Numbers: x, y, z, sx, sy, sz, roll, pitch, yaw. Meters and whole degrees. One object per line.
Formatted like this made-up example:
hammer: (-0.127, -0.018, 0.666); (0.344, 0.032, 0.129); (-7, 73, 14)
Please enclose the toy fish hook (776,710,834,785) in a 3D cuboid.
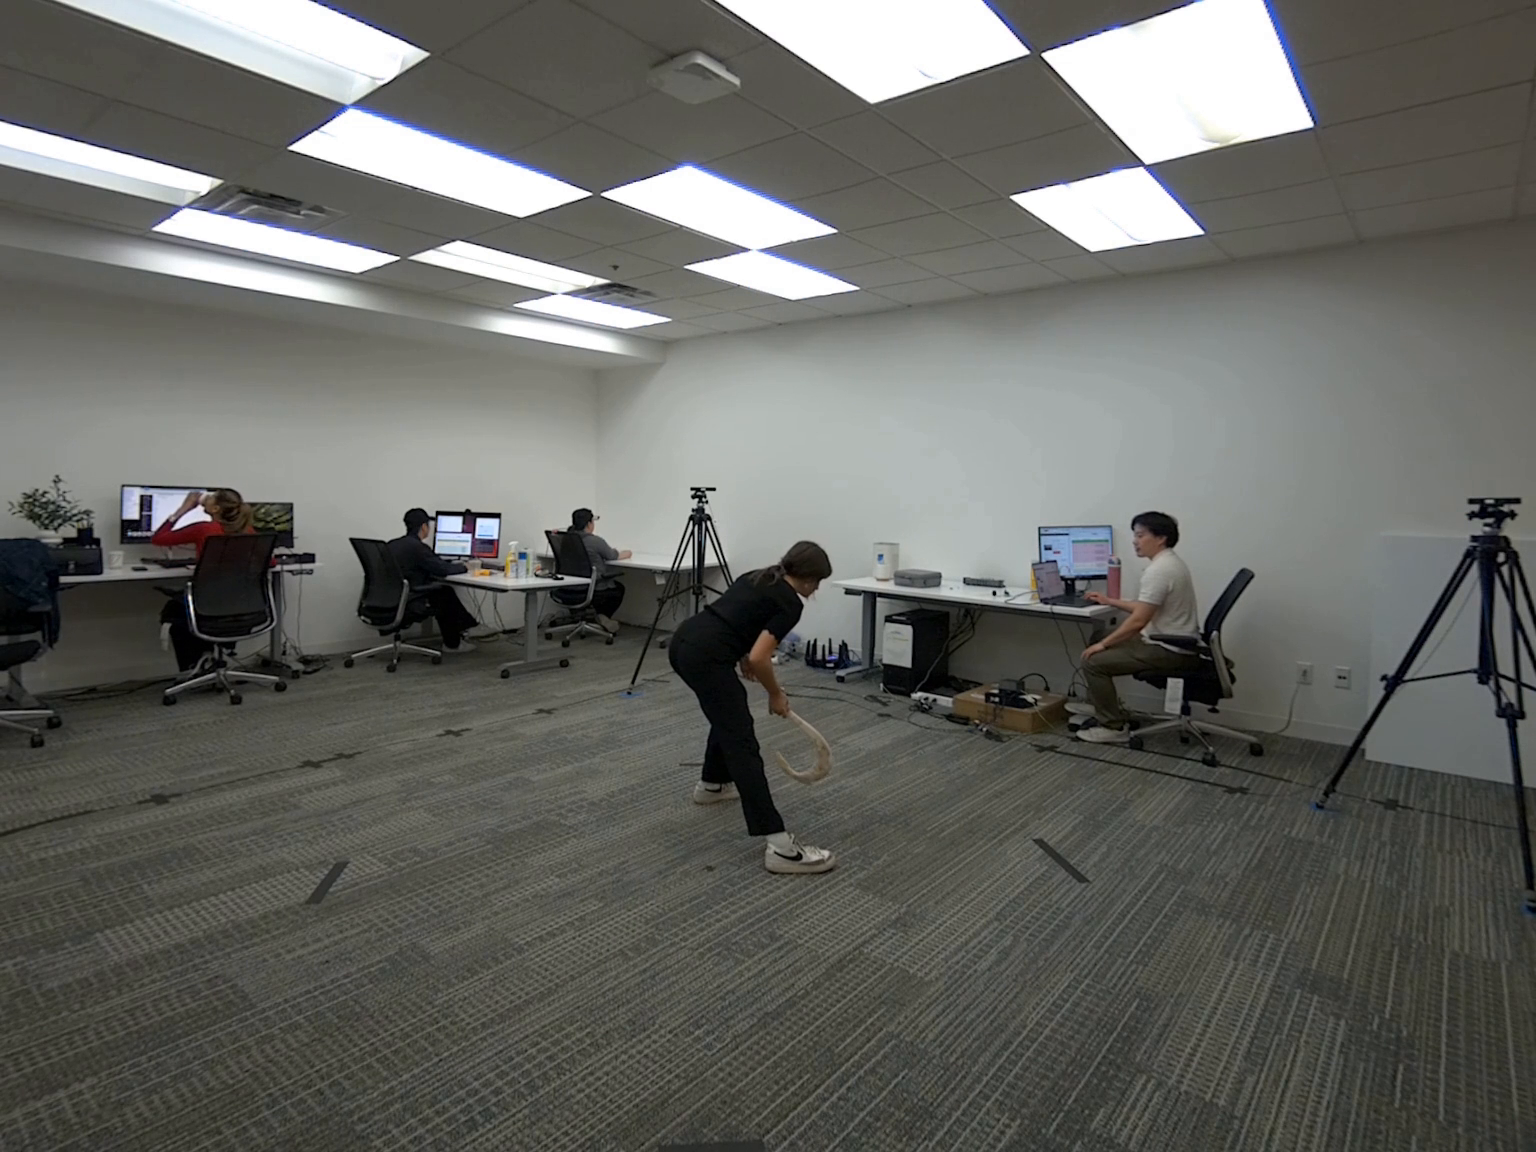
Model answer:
toy fish hook: (0.063, 0.647, 3.630); (0.224, 0.513, 0.048); (-33, -9, -10)
